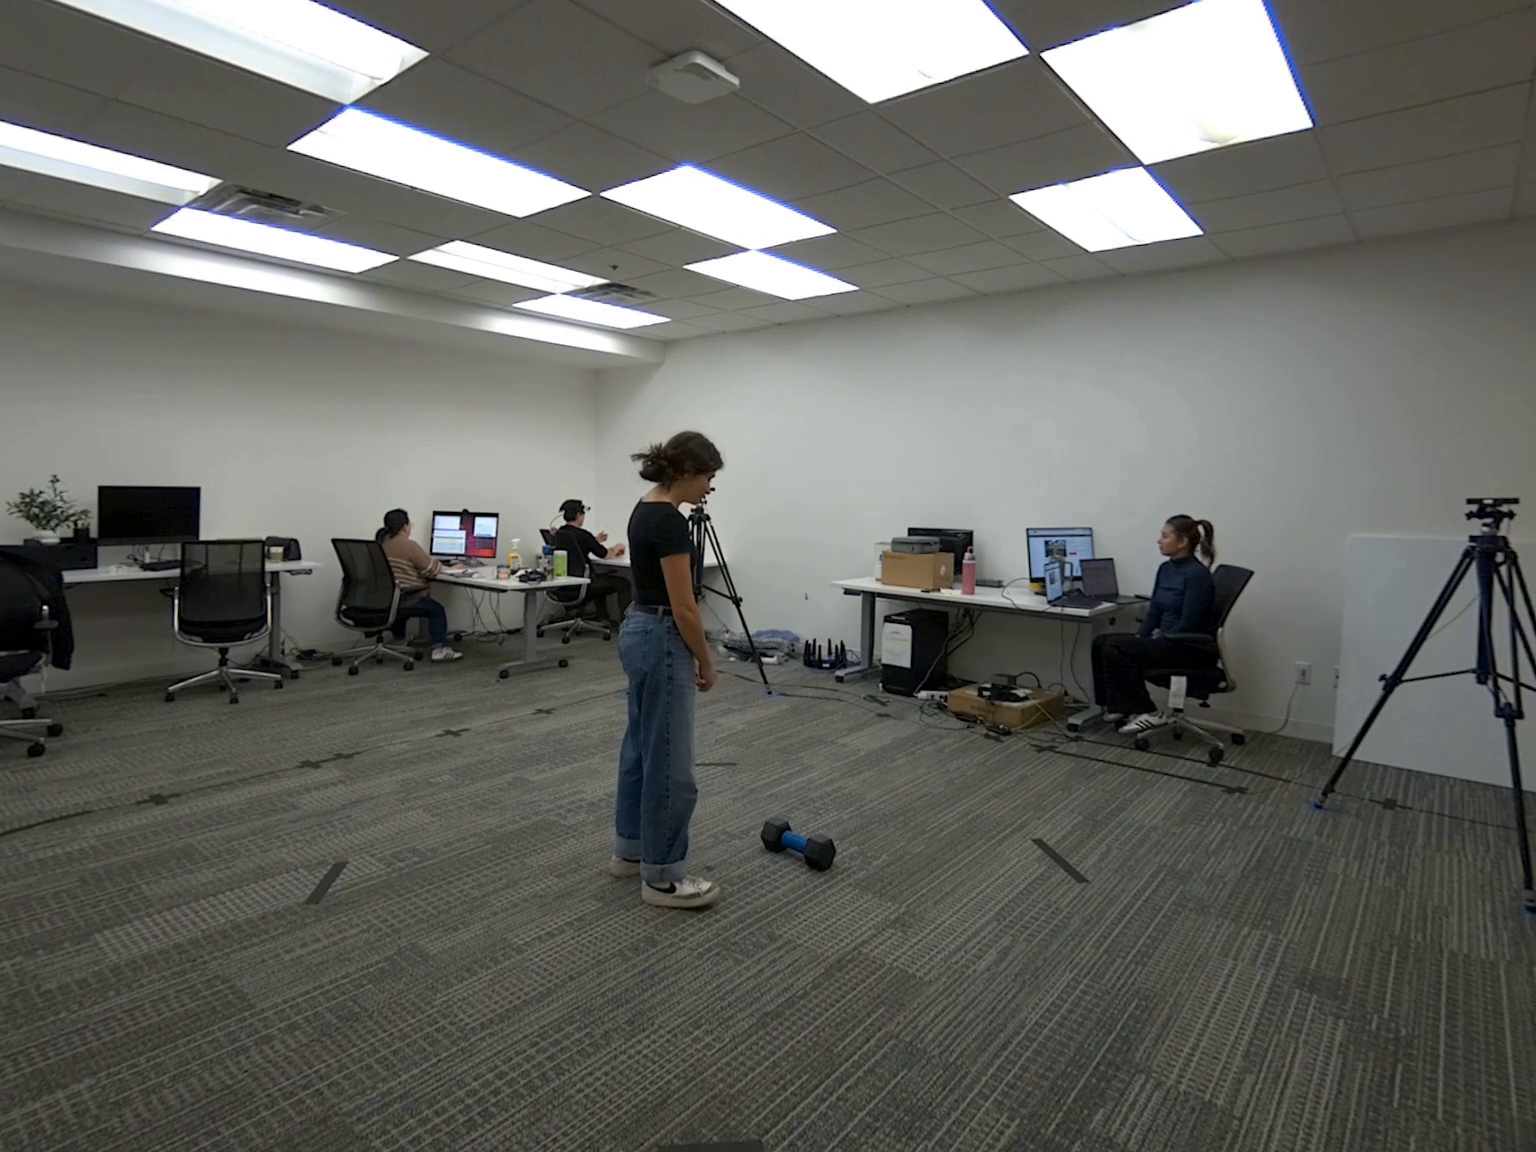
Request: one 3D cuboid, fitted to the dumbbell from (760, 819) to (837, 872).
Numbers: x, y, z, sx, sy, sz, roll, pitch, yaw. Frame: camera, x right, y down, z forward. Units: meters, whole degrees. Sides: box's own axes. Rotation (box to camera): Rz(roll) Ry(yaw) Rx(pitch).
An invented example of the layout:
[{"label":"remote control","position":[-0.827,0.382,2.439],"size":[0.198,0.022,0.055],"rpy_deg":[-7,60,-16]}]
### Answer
[{"label":"dumbbell","position":[0.103,1.007,3.219],"size":[0.304,0.124,0.104],"rpy_deg":[6,-24,44]}]
